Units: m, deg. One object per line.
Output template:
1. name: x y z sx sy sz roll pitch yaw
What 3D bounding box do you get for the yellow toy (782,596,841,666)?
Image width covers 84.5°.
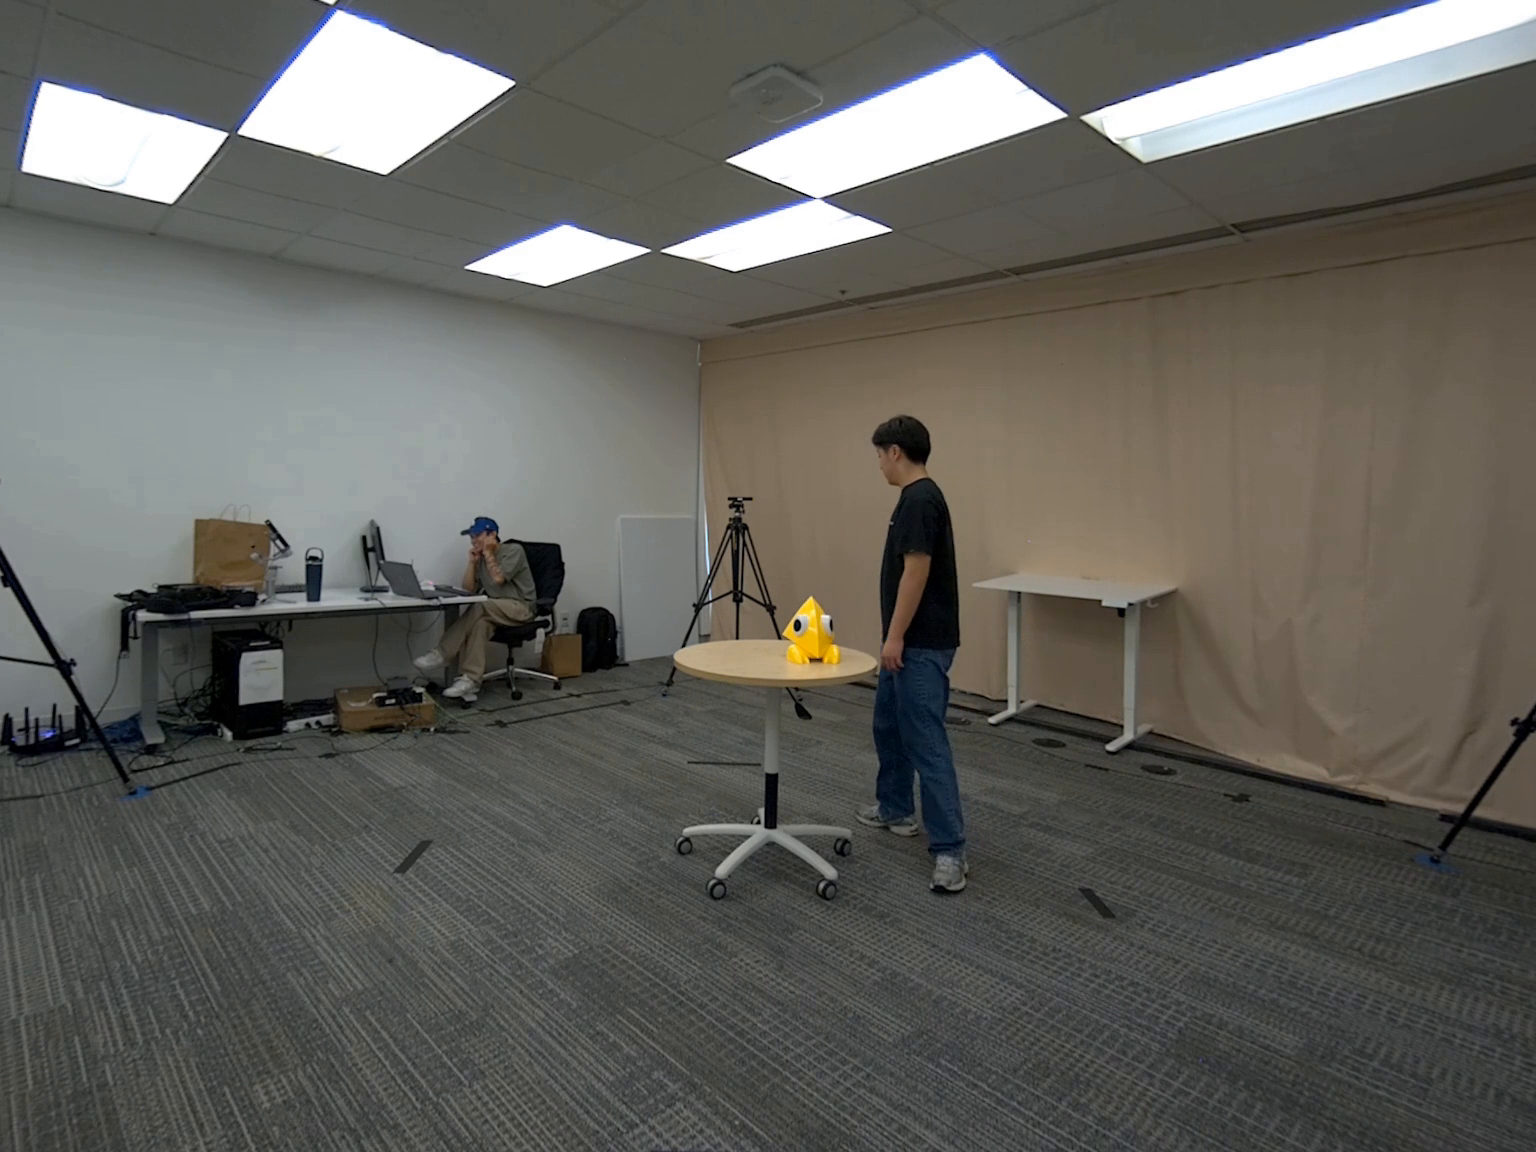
1. yellow toy: 0.162 0.199 3.154 0.203 0.230 0.194 1 3 -7
